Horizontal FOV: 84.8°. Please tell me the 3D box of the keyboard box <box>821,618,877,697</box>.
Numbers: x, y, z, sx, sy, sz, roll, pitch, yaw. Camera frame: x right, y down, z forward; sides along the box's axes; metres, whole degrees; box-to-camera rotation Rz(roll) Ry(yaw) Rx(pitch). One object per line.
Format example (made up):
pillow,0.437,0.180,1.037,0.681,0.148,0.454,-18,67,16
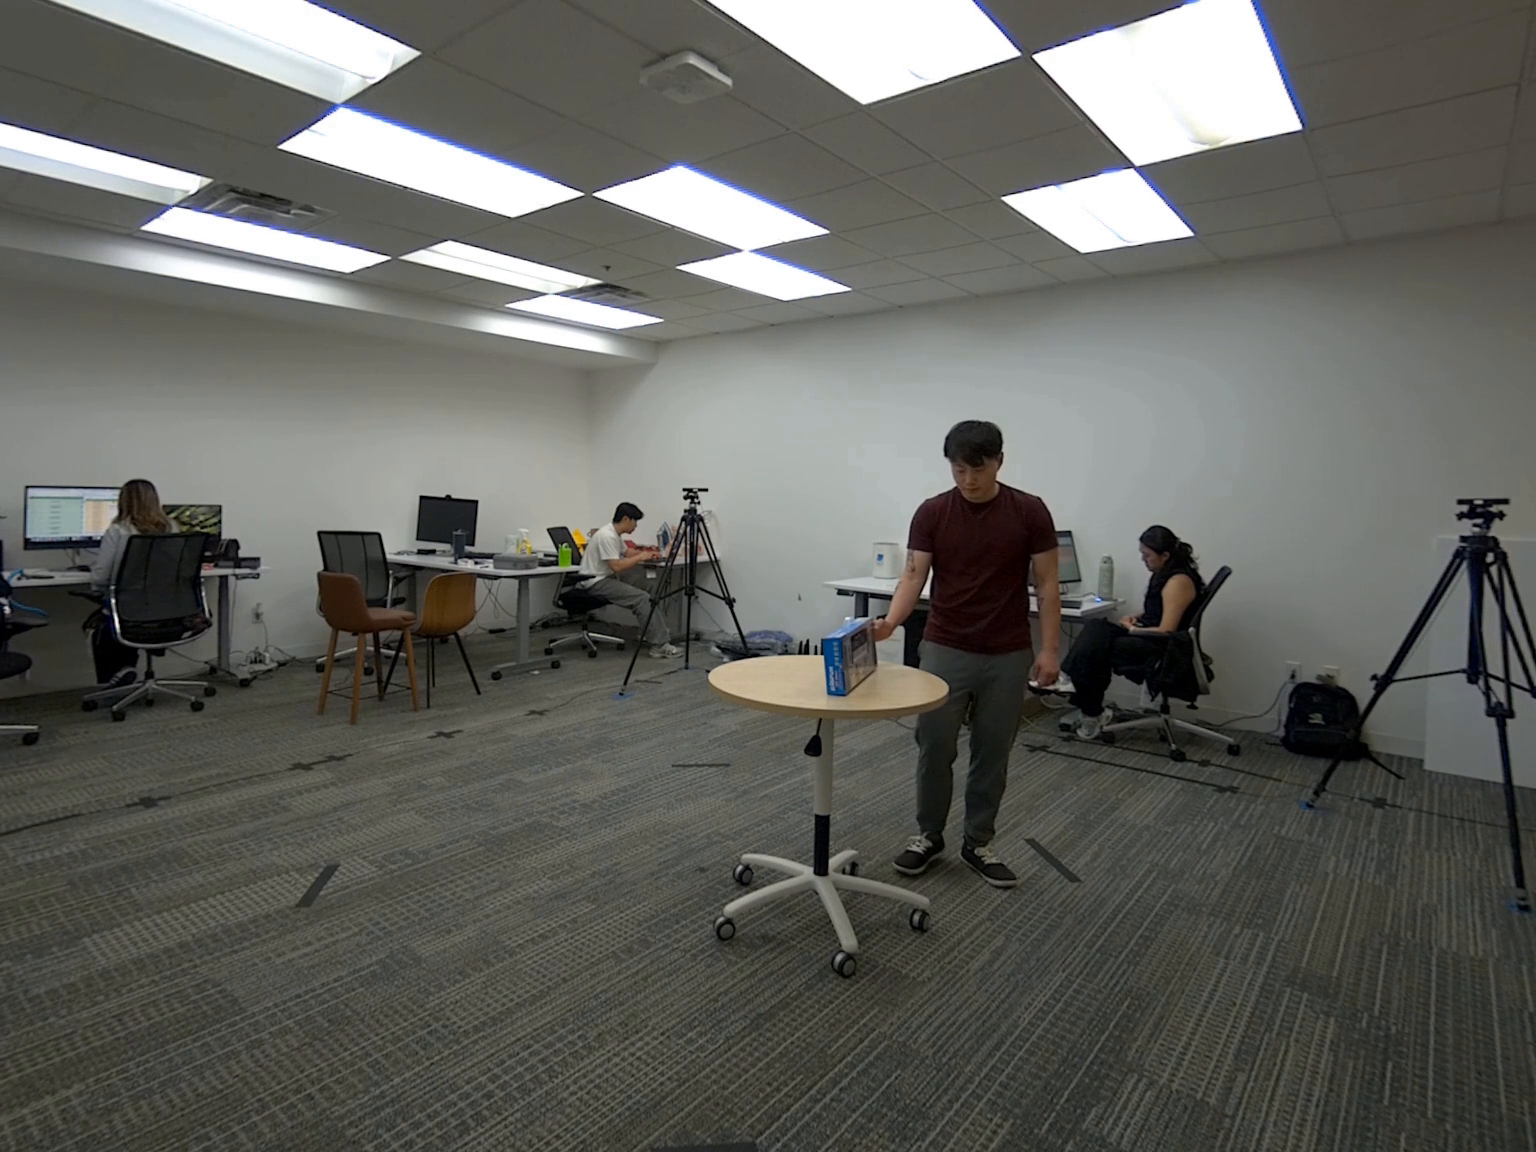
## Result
keyboard box,0.263,0.249,2.724,0.060,0.175,0.429,-5,3,19
